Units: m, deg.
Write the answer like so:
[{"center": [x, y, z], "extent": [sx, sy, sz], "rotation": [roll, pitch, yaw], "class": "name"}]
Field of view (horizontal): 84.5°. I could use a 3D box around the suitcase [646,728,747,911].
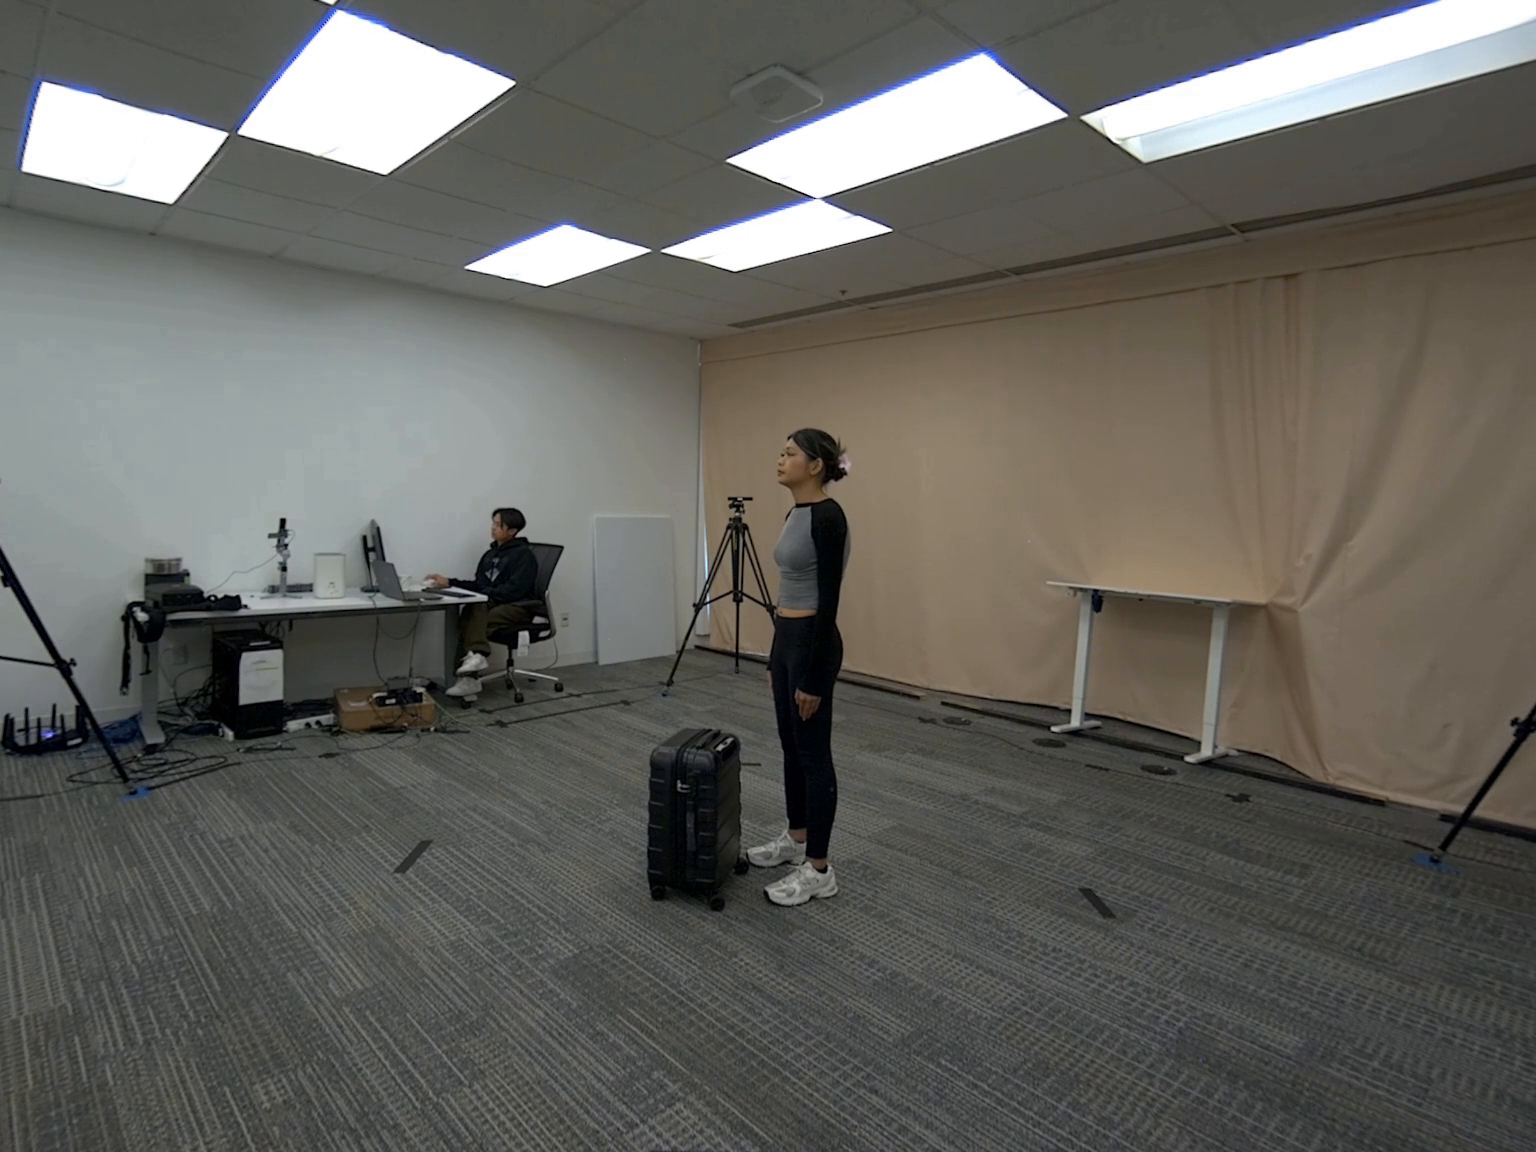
[{"center": [-0.262, 0.838, 3.004], "extent": [0.252, 0.548, 0.371], "rotation": [1, 4, 17], "class": "suitcase"}]
